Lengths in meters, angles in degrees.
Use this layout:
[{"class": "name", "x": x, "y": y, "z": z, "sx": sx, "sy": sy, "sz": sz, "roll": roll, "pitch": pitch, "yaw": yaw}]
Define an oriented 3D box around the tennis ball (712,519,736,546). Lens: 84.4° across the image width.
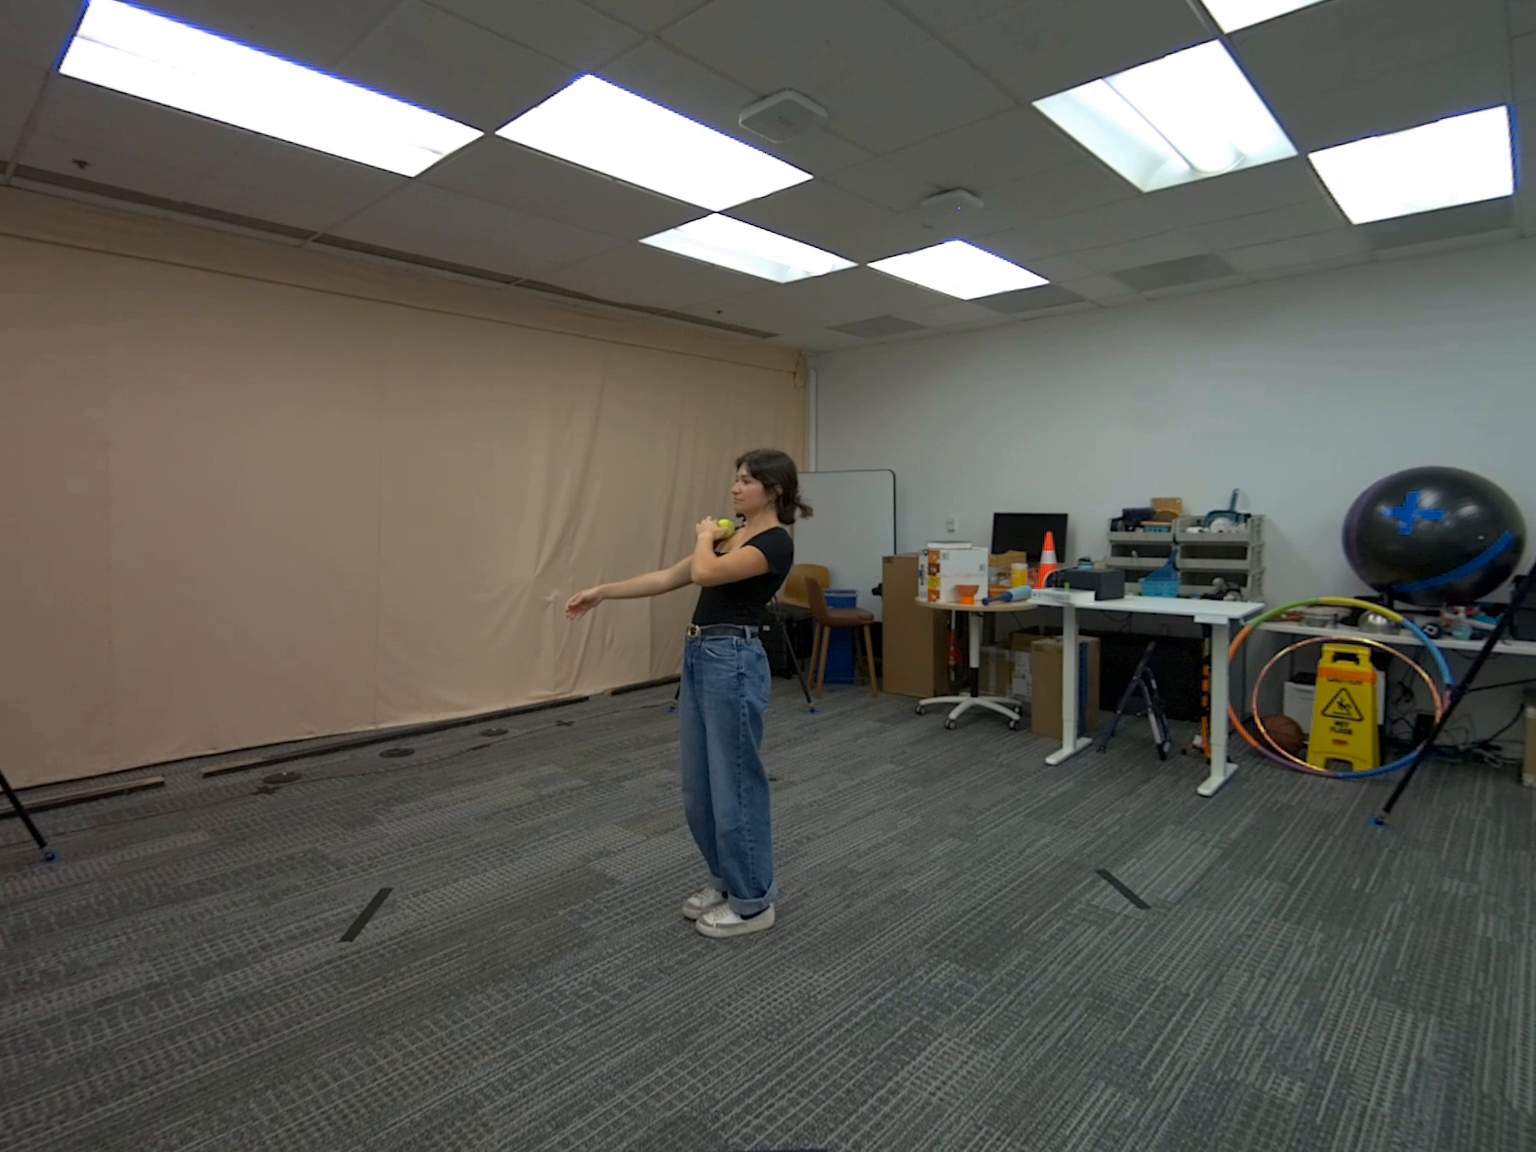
[{"class": "tennis ball", "x": -0.137, "y": -0.161, "z": 2.815, "sx": 0.066, "sy": 0.066, "sz": 0.067, "roll": 0, "pitch": 4, "yaw": -2}]
